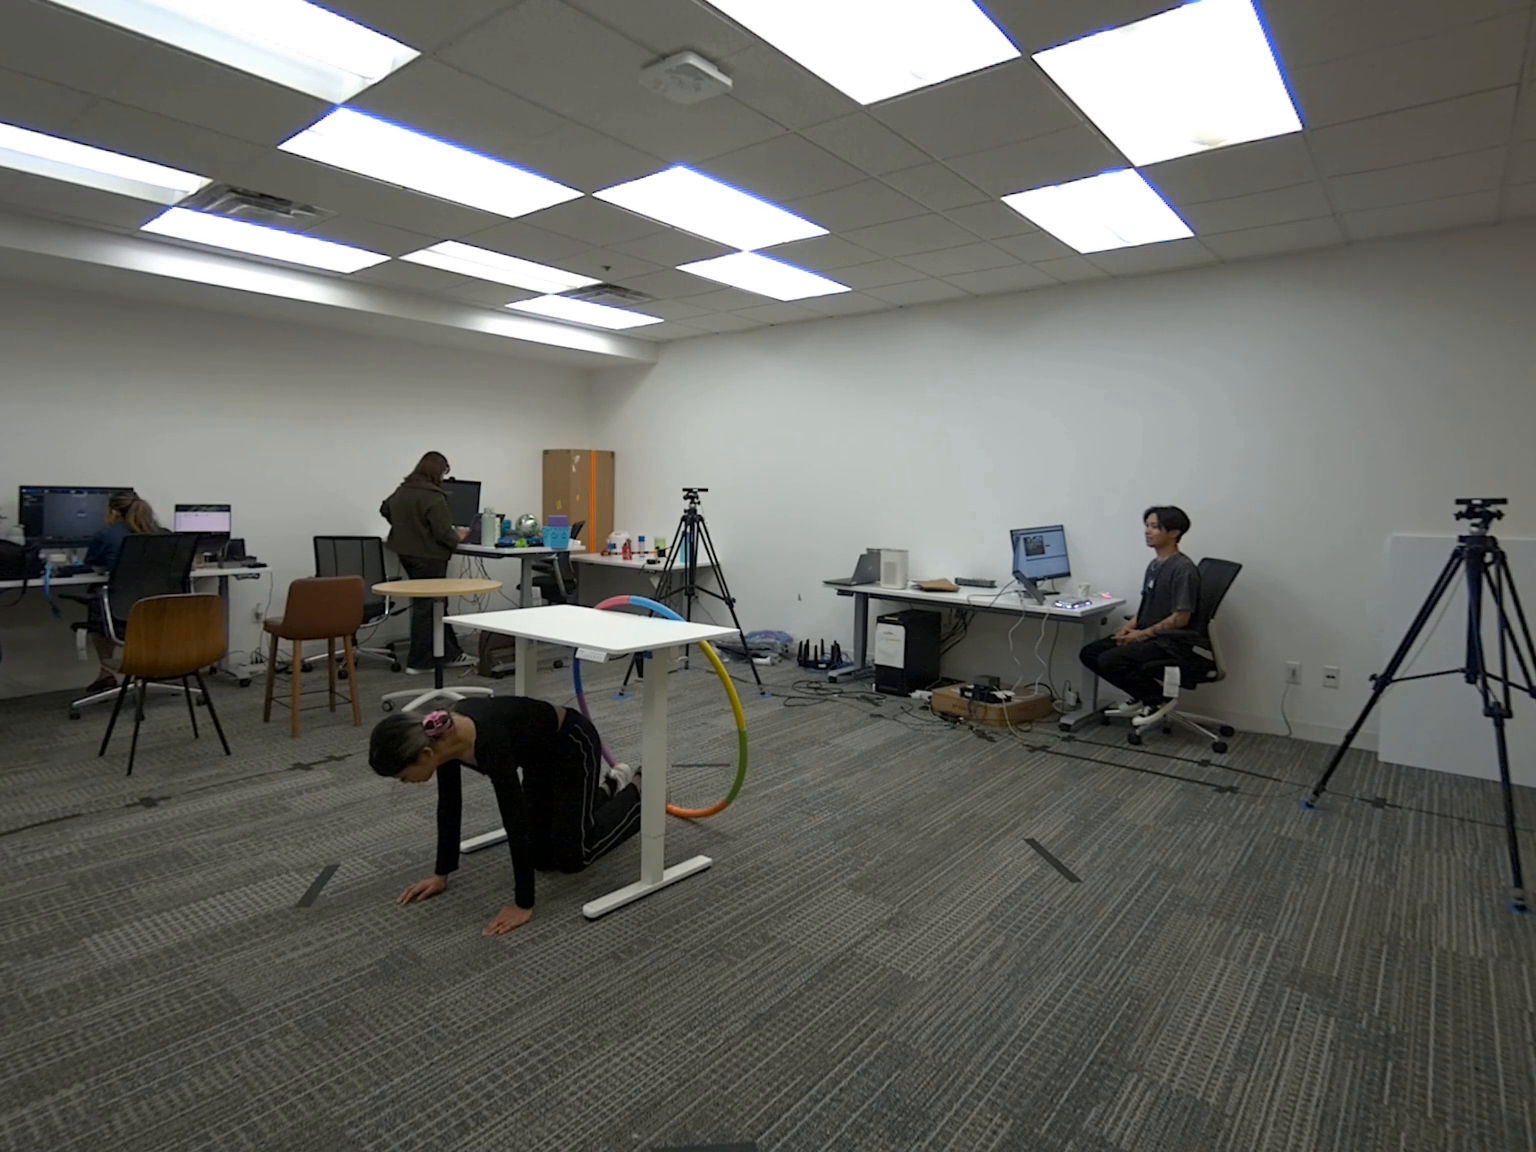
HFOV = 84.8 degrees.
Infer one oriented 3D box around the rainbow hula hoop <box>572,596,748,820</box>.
[{"bbox_3d":[-0.486,0.550,3.530,1.011,0.963,0.035,4,19,39],"label":"rainbow hula hoop"}]
